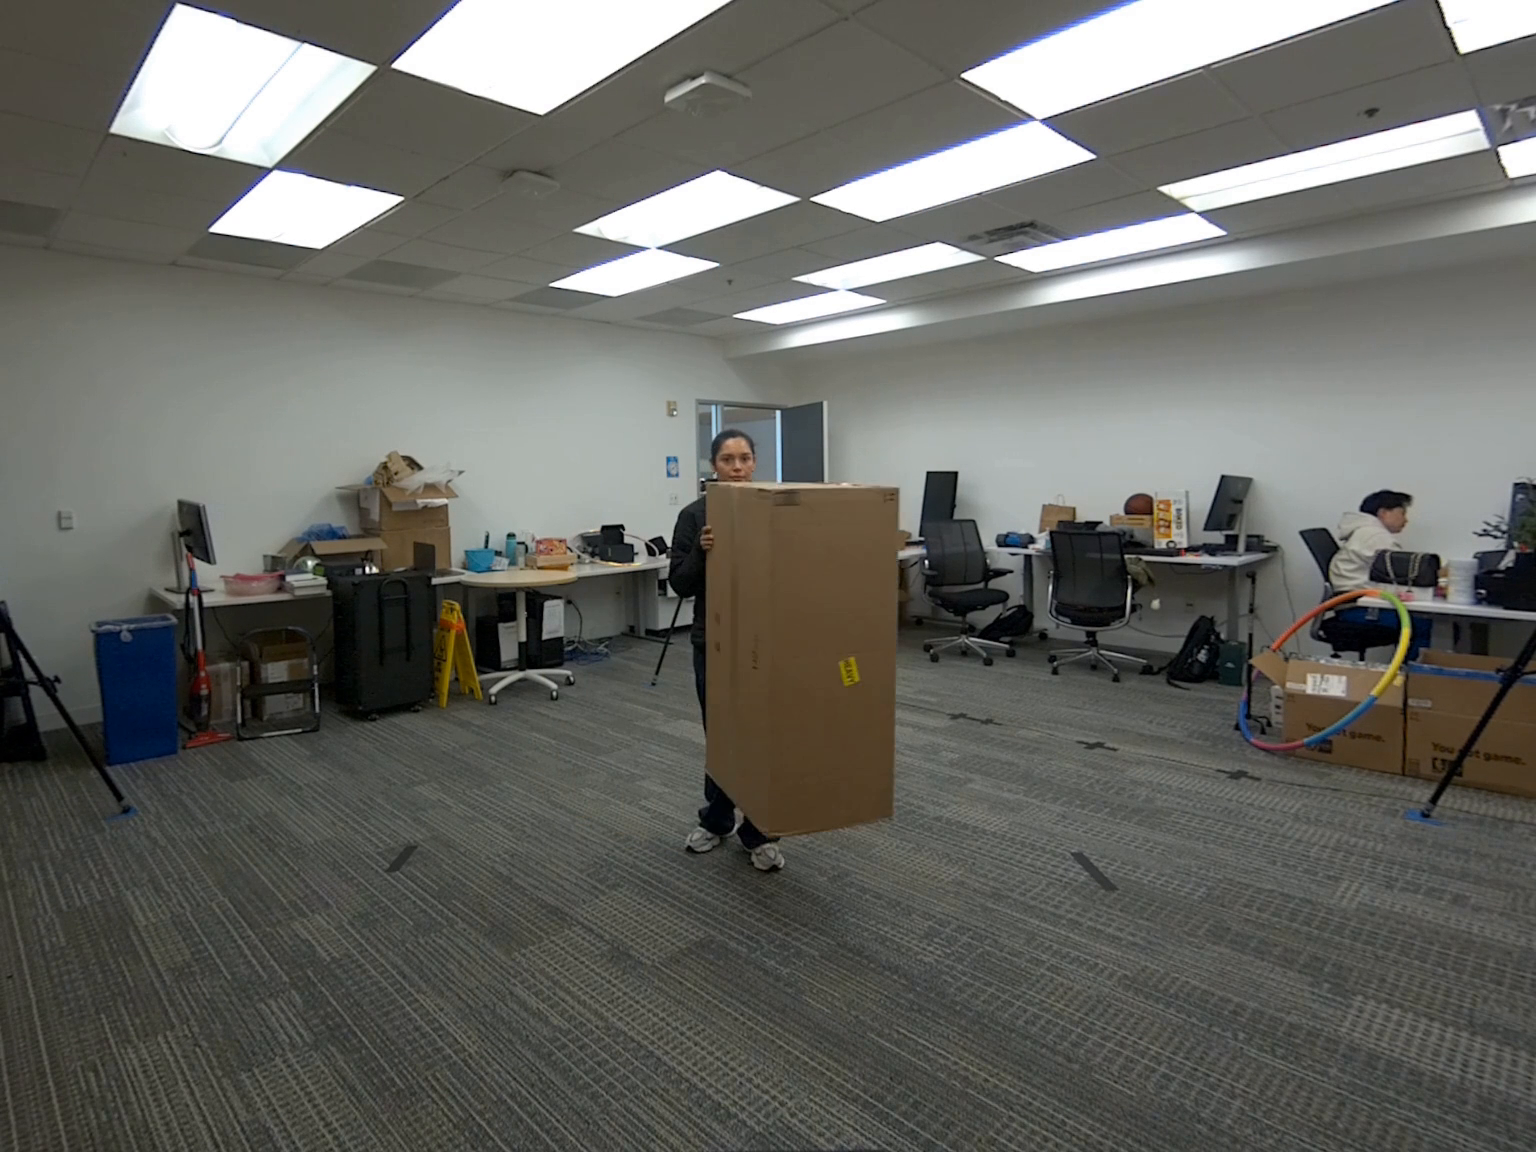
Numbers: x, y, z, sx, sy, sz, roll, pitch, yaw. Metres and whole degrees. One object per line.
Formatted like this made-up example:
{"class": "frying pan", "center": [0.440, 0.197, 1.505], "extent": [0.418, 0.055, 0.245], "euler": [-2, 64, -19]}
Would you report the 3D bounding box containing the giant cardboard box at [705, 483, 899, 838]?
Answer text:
{"class": "giant cardboard box", "center": [0.085, 0.217, 2.796], "extent": [0.418, 1.021, 0.591], "euler": [-2, 6, -21]}
